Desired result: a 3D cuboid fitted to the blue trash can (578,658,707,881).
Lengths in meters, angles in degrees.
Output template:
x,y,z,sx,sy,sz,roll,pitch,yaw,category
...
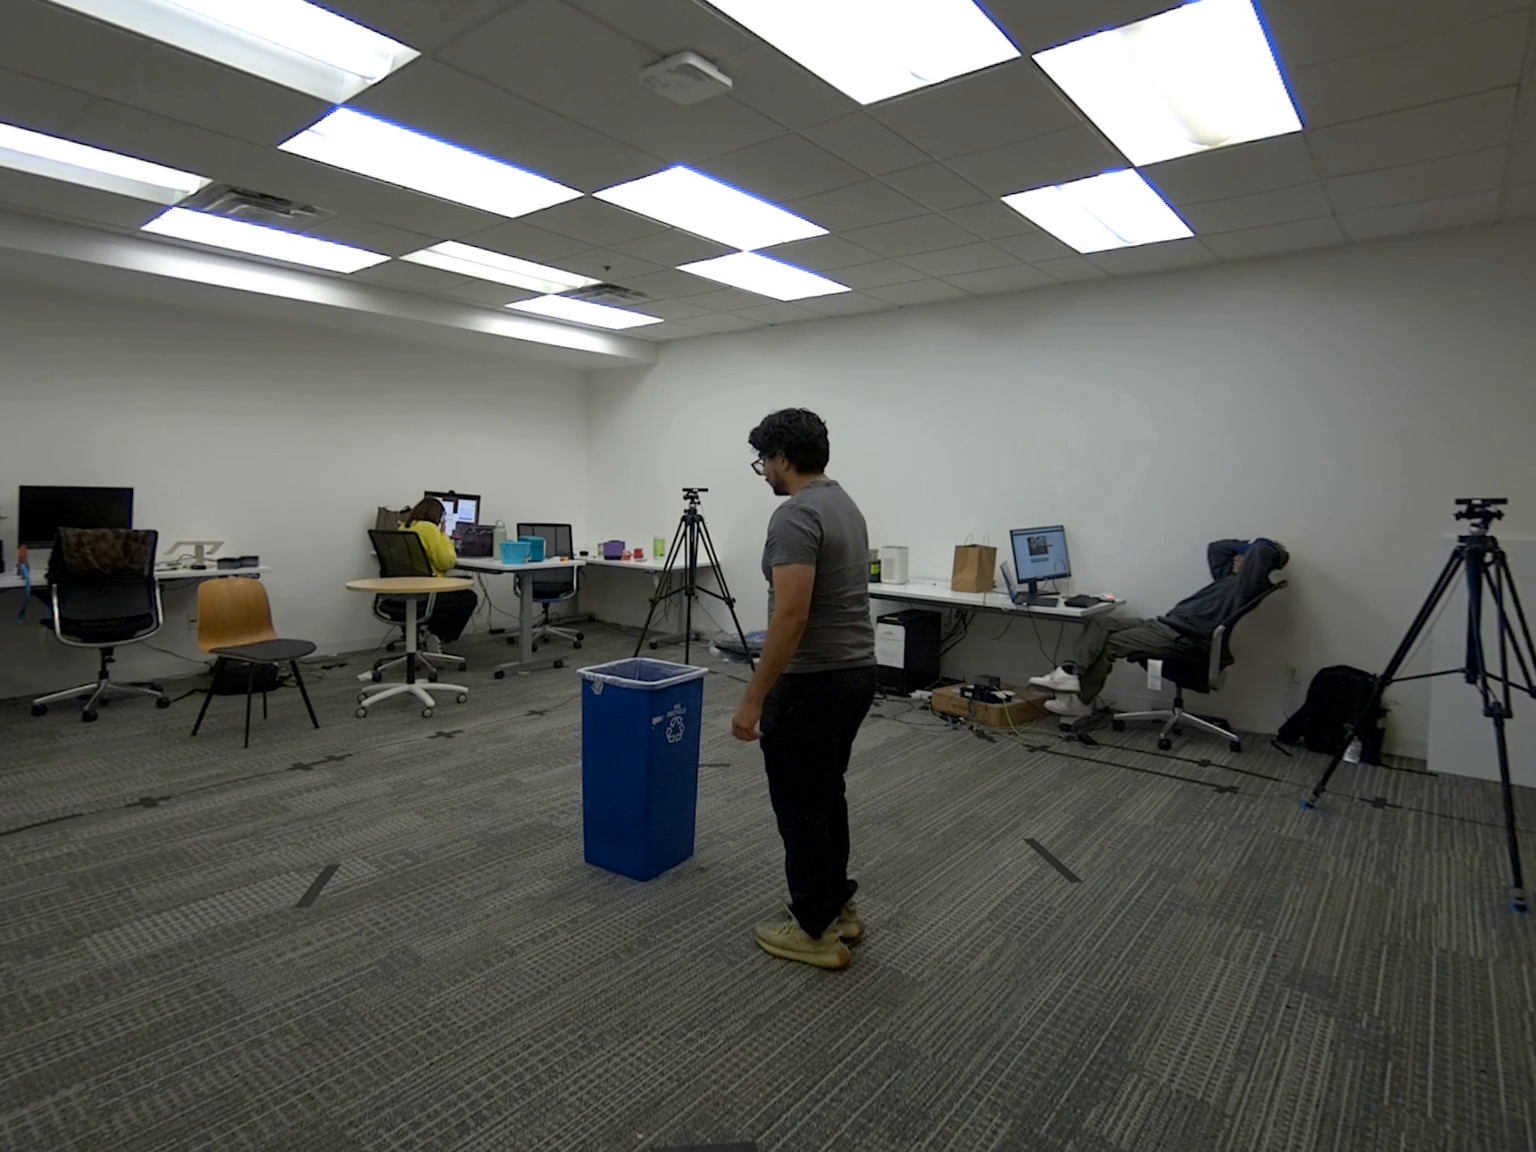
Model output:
x,y,z,sx,sy,sz,roll,pitch,yaw,category
-0.483,0.699,3.190,0.390,0.712,0.364,3,4,33,blue trash can
